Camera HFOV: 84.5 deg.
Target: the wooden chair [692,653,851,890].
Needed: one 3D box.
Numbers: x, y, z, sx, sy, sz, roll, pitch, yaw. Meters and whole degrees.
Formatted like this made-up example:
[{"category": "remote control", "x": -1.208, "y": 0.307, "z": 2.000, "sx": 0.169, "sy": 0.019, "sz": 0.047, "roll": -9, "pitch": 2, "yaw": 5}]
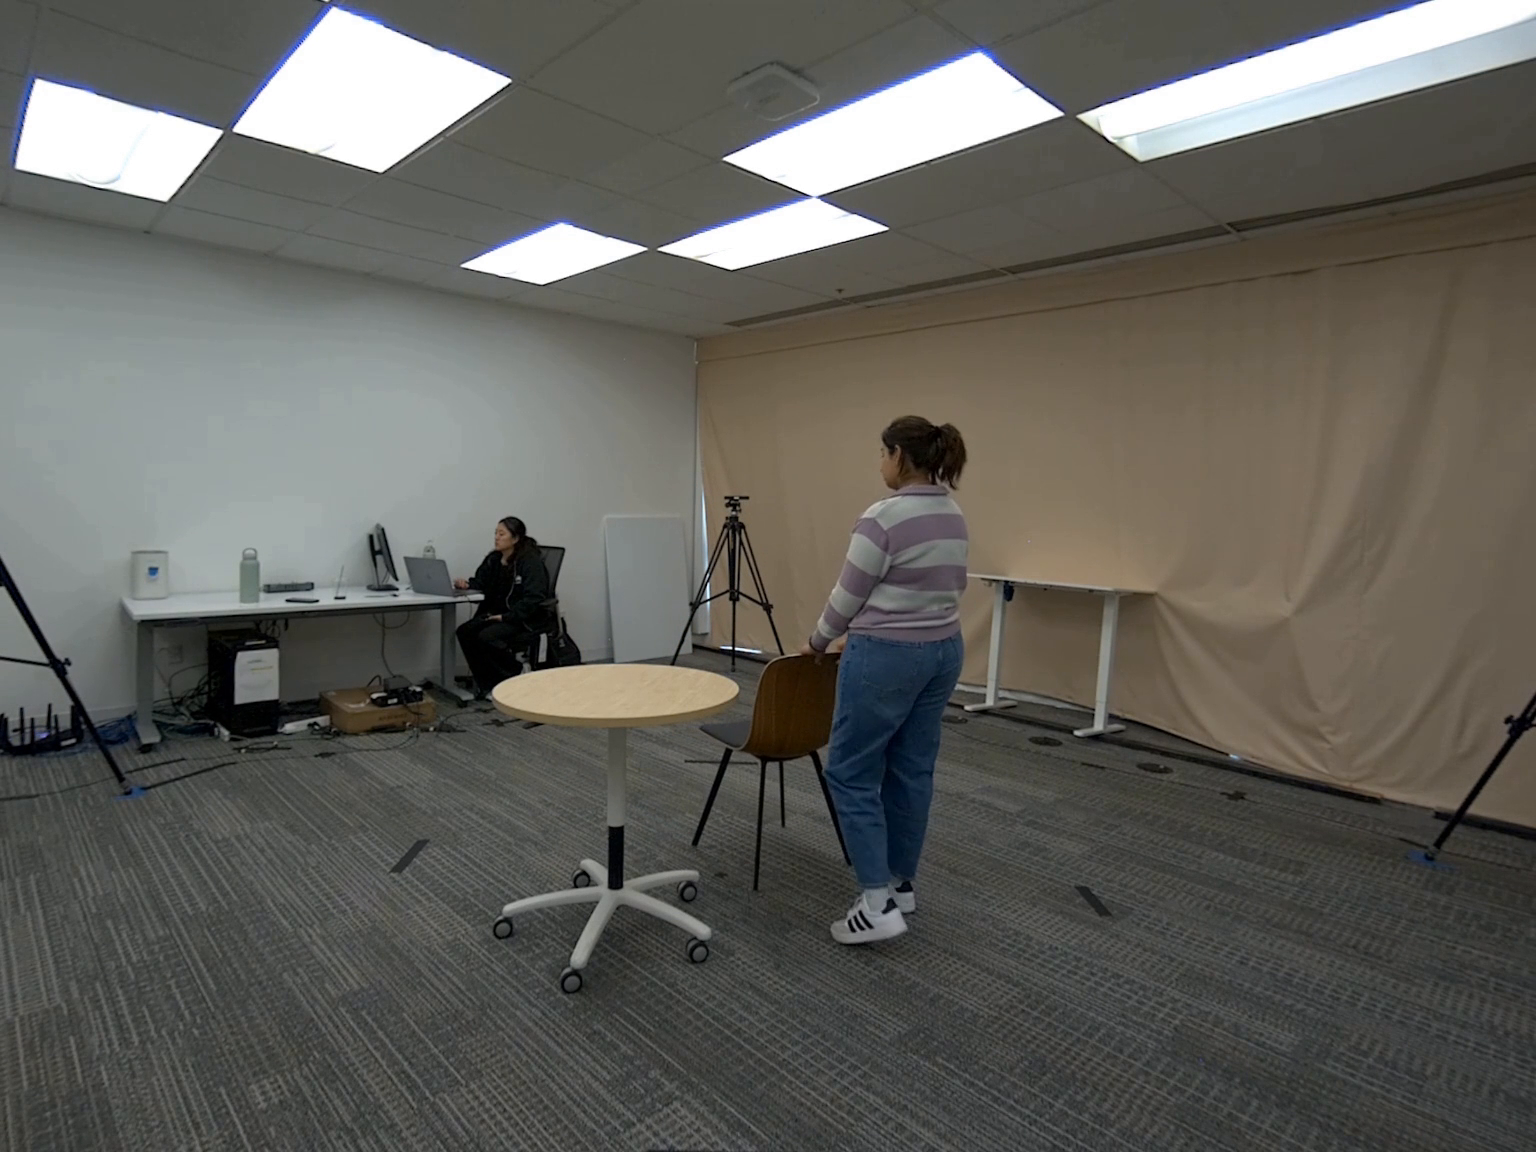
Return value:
[{"category": "wooden chair", "x": 0.013, "y": 0.664, "z": 3.262, "sx": 0.468, "sy": 0.873, "sz": 0.537, "roll": -1, "pitch": 9, "yaw": -33}]
